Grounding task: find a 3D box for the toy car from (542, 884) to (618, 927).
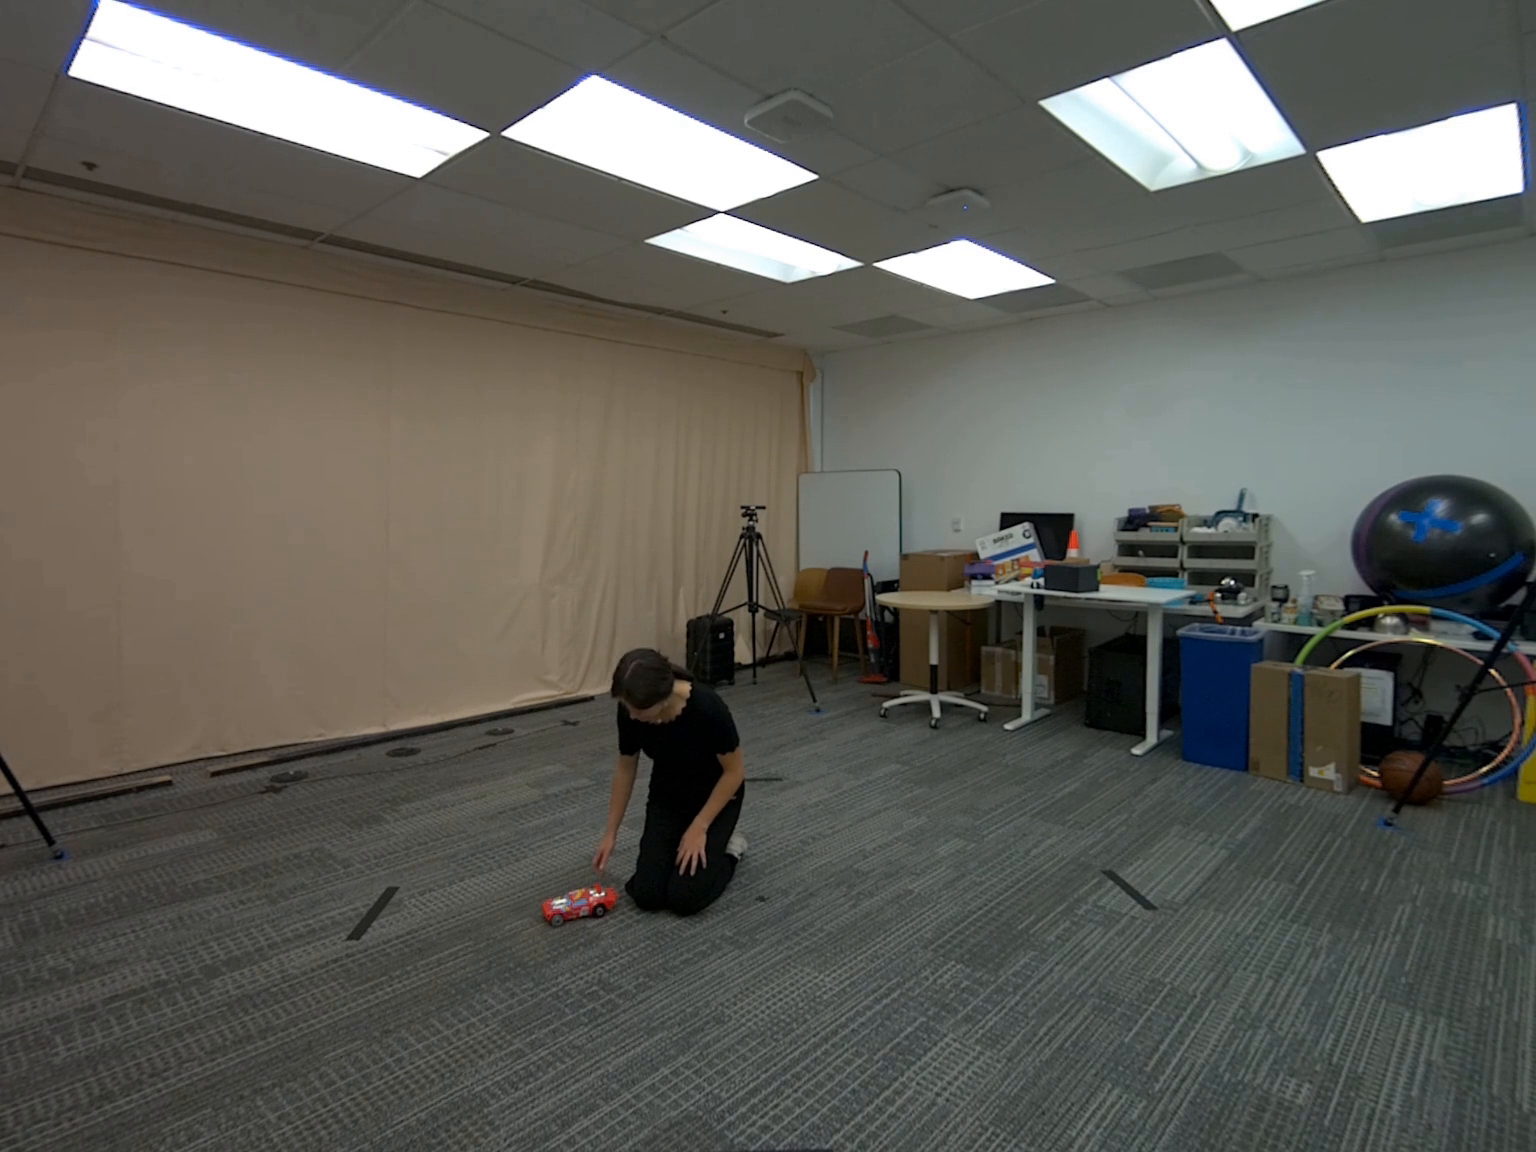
[{"bbox_3d":[-0.642,1.128,2.889,0.250,0.083,0.133,-14,8,-23],"label":"toy car"}]
